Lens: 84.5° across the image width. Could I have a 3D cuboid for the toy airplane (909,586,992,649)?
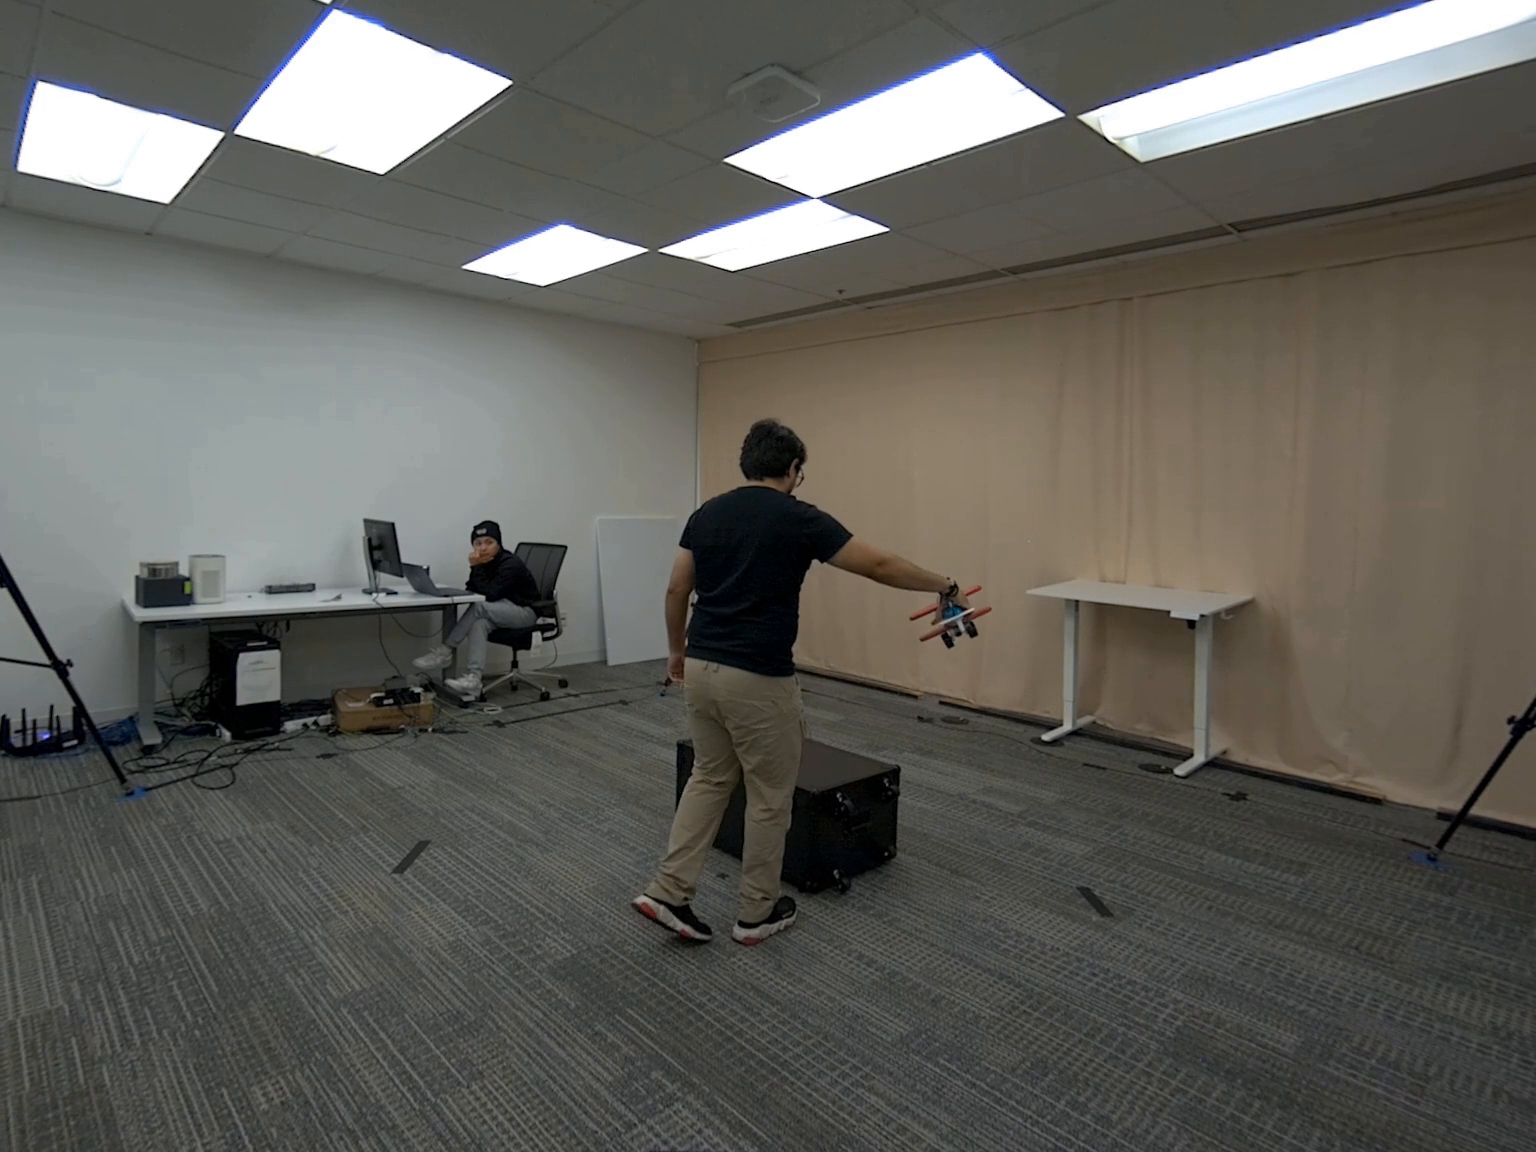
[{"bbox_3d":[0.612,0.134,2.749,0.248,0.159,0.257,-17,-19,-21],"label":"toy airplane"}]
